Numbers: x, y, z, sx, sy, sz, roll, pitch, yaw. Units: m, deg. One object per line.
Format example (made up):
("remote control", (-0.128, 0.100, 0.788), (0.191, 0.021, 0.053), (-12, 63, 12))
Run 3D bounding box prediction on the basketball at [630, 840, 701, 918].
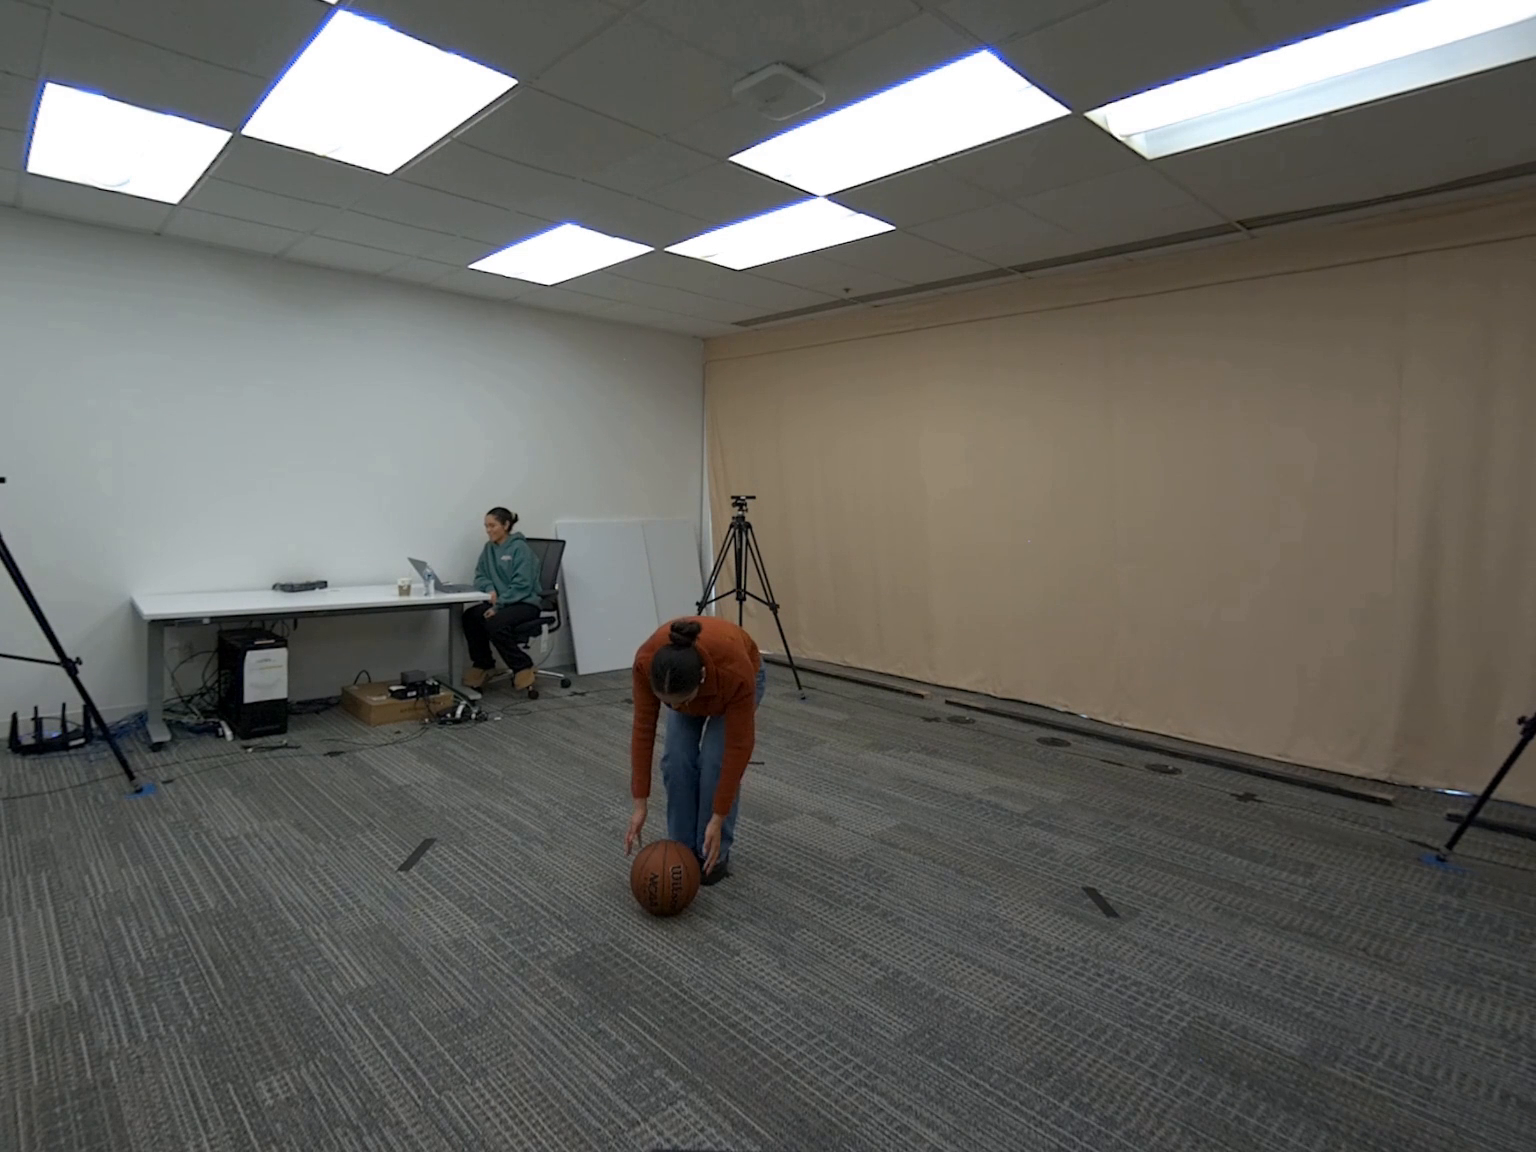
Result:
("basketball", (-0.349, 1.002, 2.819), (0.236, 0.235, 0.237), (1, 4, -1))
